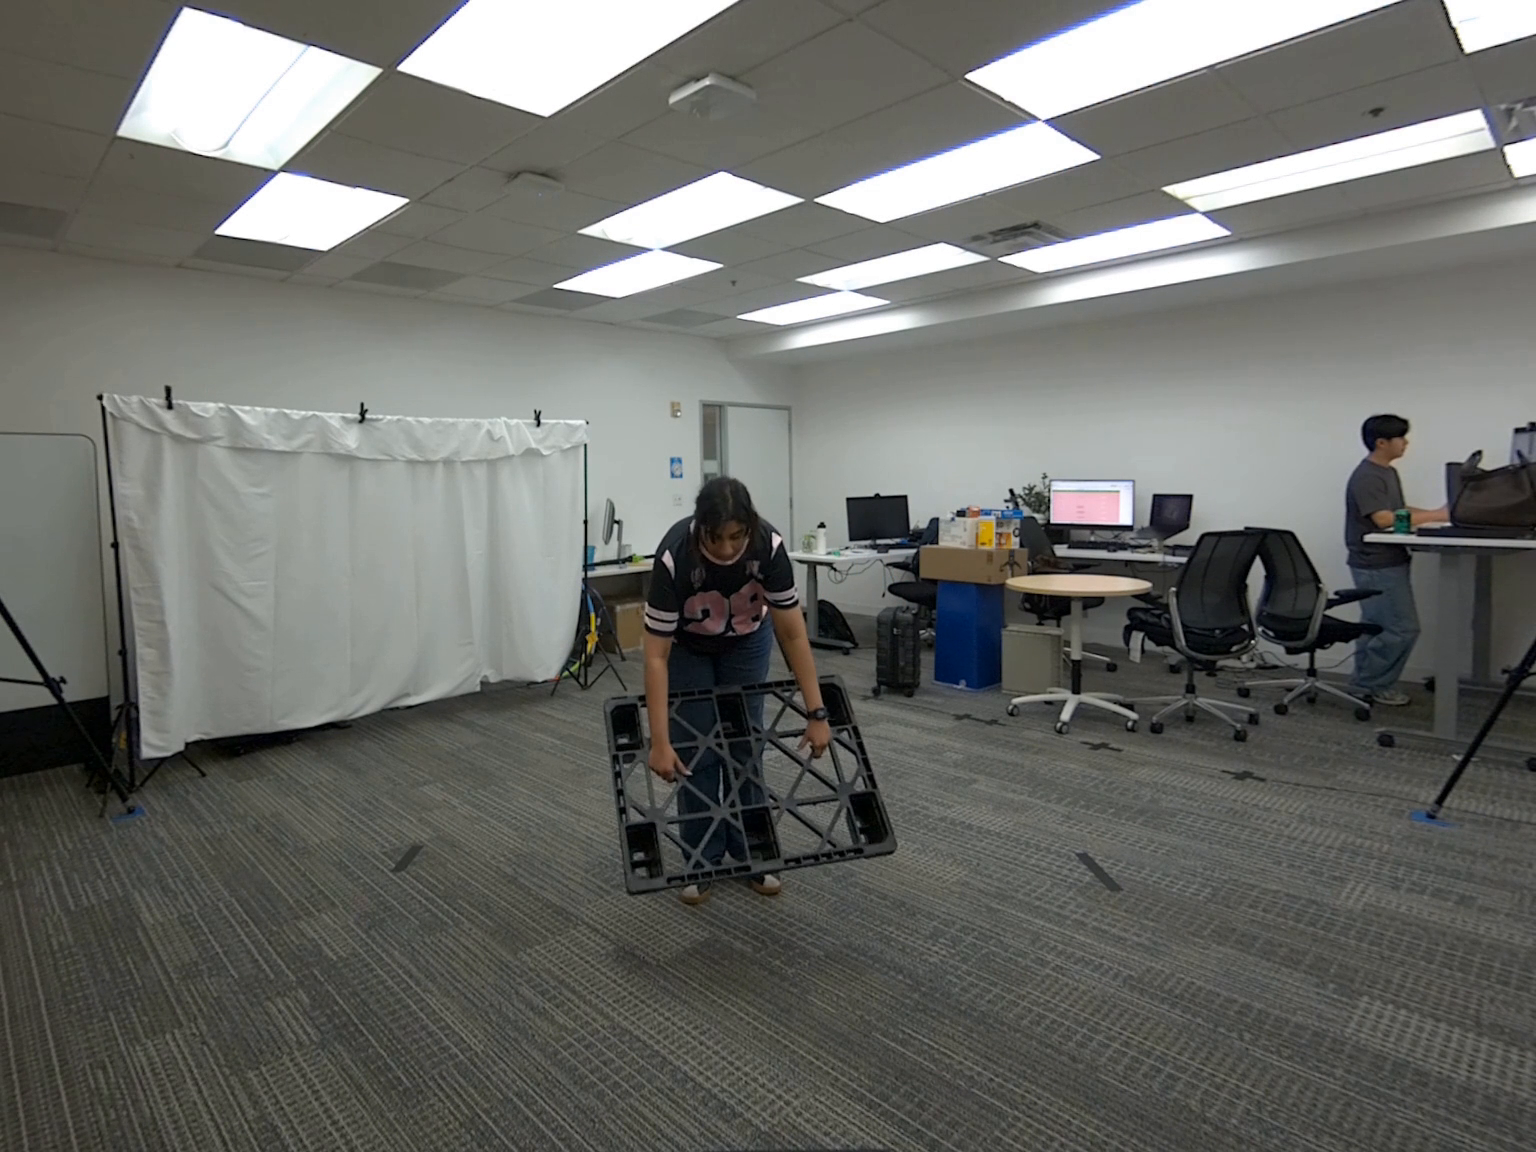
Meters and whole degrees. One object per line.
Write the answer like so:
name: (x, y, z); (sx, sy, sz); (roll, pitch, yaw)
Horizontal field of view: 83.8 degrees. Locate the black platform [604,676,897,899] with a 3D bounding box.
black platform: (-0.069, 0.636, 2.628); (0.796, 0.625, 0.140); (-4, -38, -13)
